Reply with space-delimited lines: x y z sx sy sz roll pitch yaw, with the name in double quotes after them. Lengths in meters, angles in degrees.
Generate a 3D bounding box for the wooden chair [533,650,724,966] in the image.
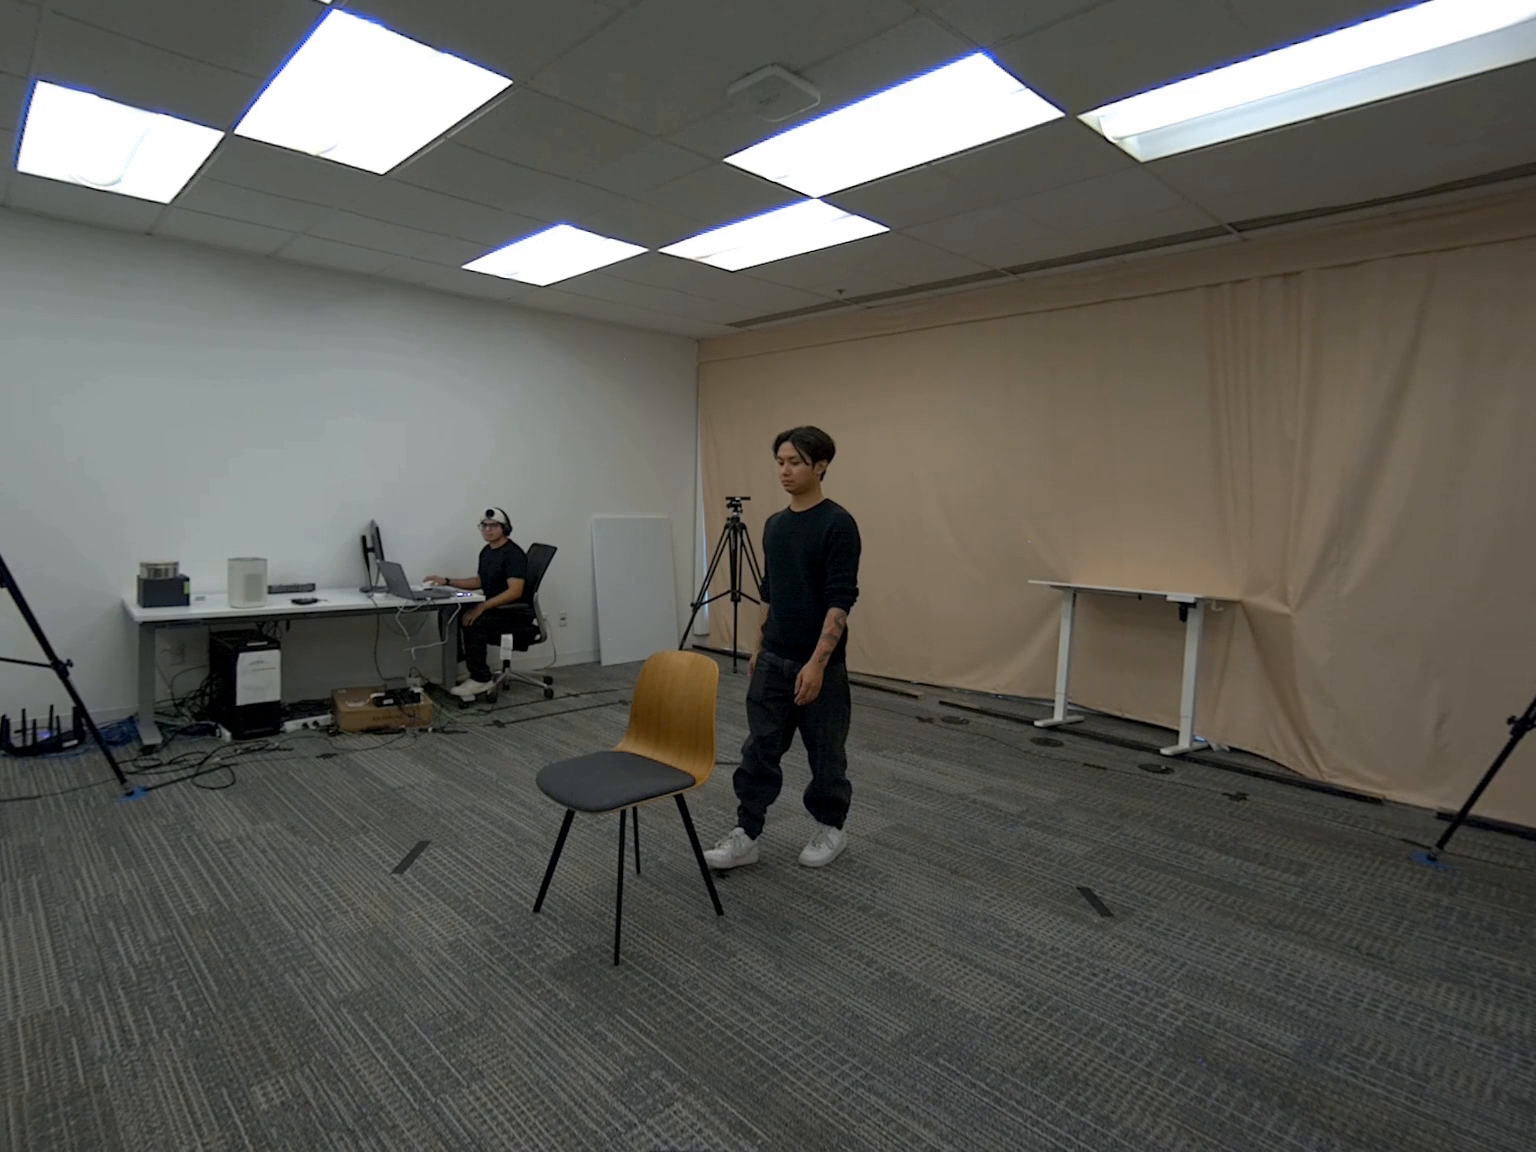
-0.464 0.706 2.766 0.490 0.877 0.510 4 0 43 "wooden chair"
